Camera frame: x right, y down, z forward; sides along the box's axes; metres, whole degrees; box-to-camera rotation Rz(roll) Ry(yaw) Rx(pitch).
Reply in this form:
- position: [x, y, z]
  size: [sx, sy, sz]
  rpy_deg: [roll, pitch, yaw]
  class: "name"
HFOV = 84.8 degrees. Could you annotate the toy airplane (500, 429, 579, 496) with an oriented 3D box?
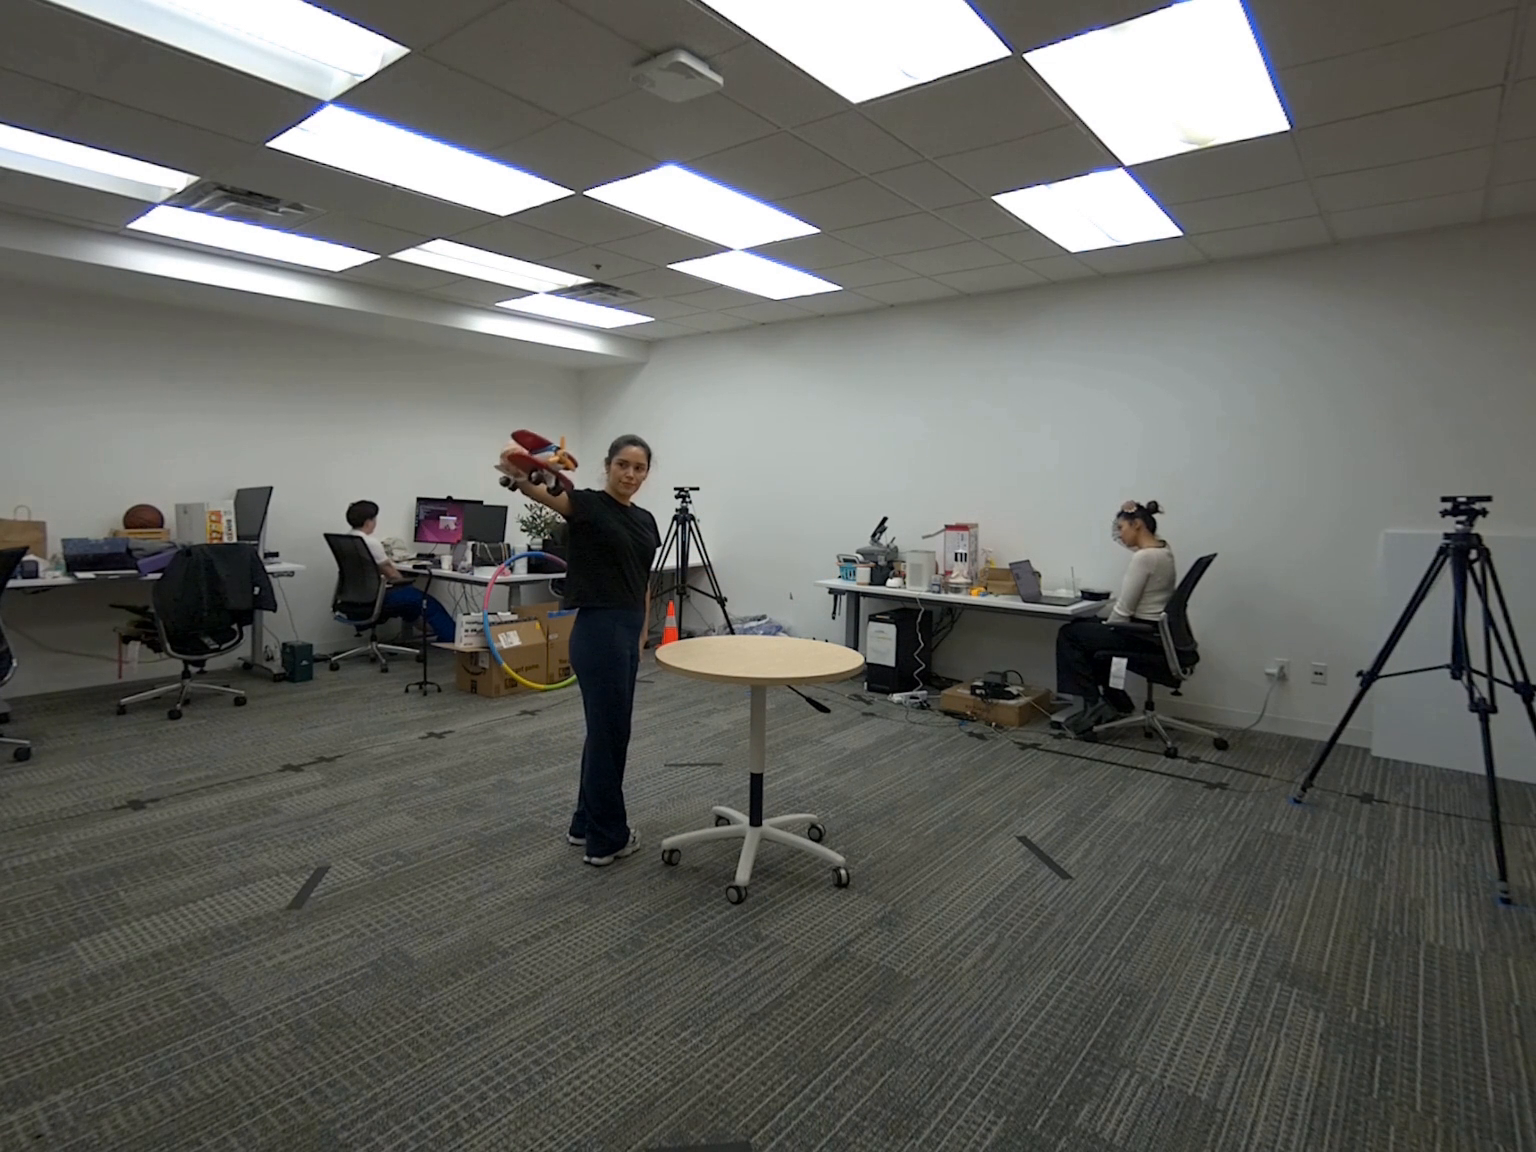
- position: [-0.737, -0.353, 2.693]
  size: [0.263, 0.158, 0.245]
  rpy_deg: [15, -15, 11]
  class: "toy airplane"
